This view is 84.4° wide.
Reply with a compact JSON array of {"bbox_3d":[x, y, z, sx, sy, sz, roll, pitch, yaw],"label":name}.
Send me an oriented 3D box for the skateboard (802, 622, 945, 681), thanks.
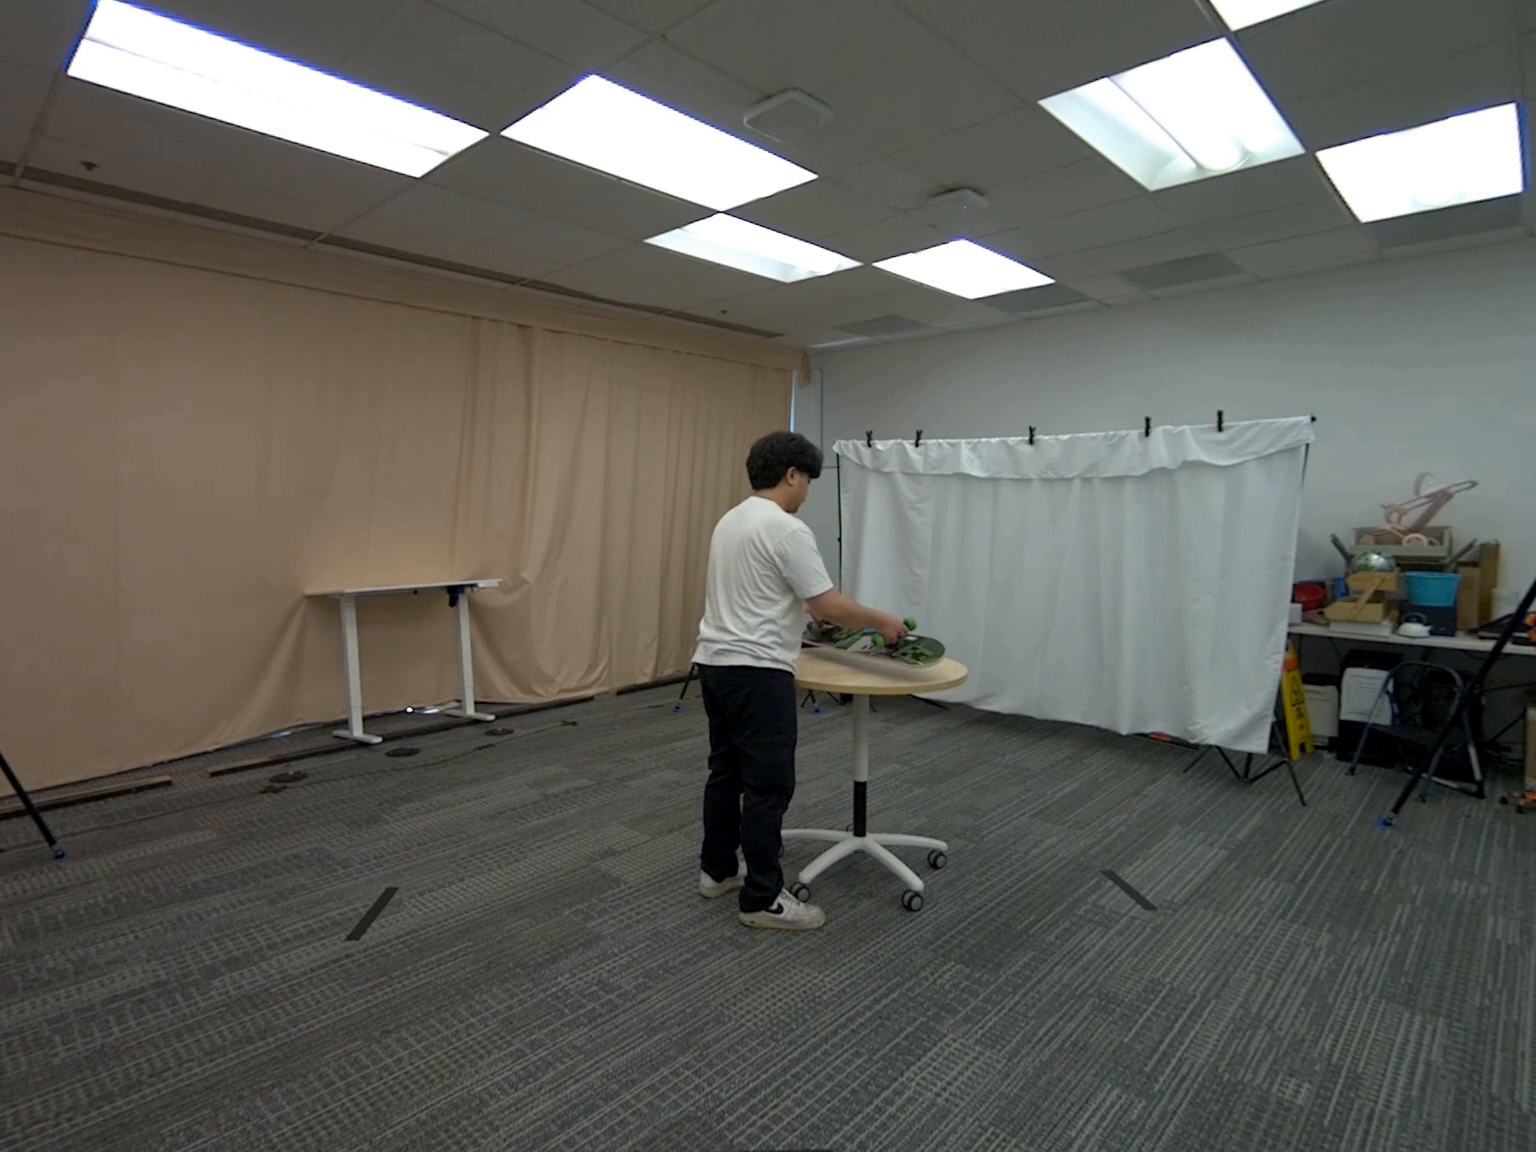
[{"bbox_3d":[0.356,0.216,3.152,0.190,0.109,0.808,-23,14,-28],"label":"skateboard"}]
